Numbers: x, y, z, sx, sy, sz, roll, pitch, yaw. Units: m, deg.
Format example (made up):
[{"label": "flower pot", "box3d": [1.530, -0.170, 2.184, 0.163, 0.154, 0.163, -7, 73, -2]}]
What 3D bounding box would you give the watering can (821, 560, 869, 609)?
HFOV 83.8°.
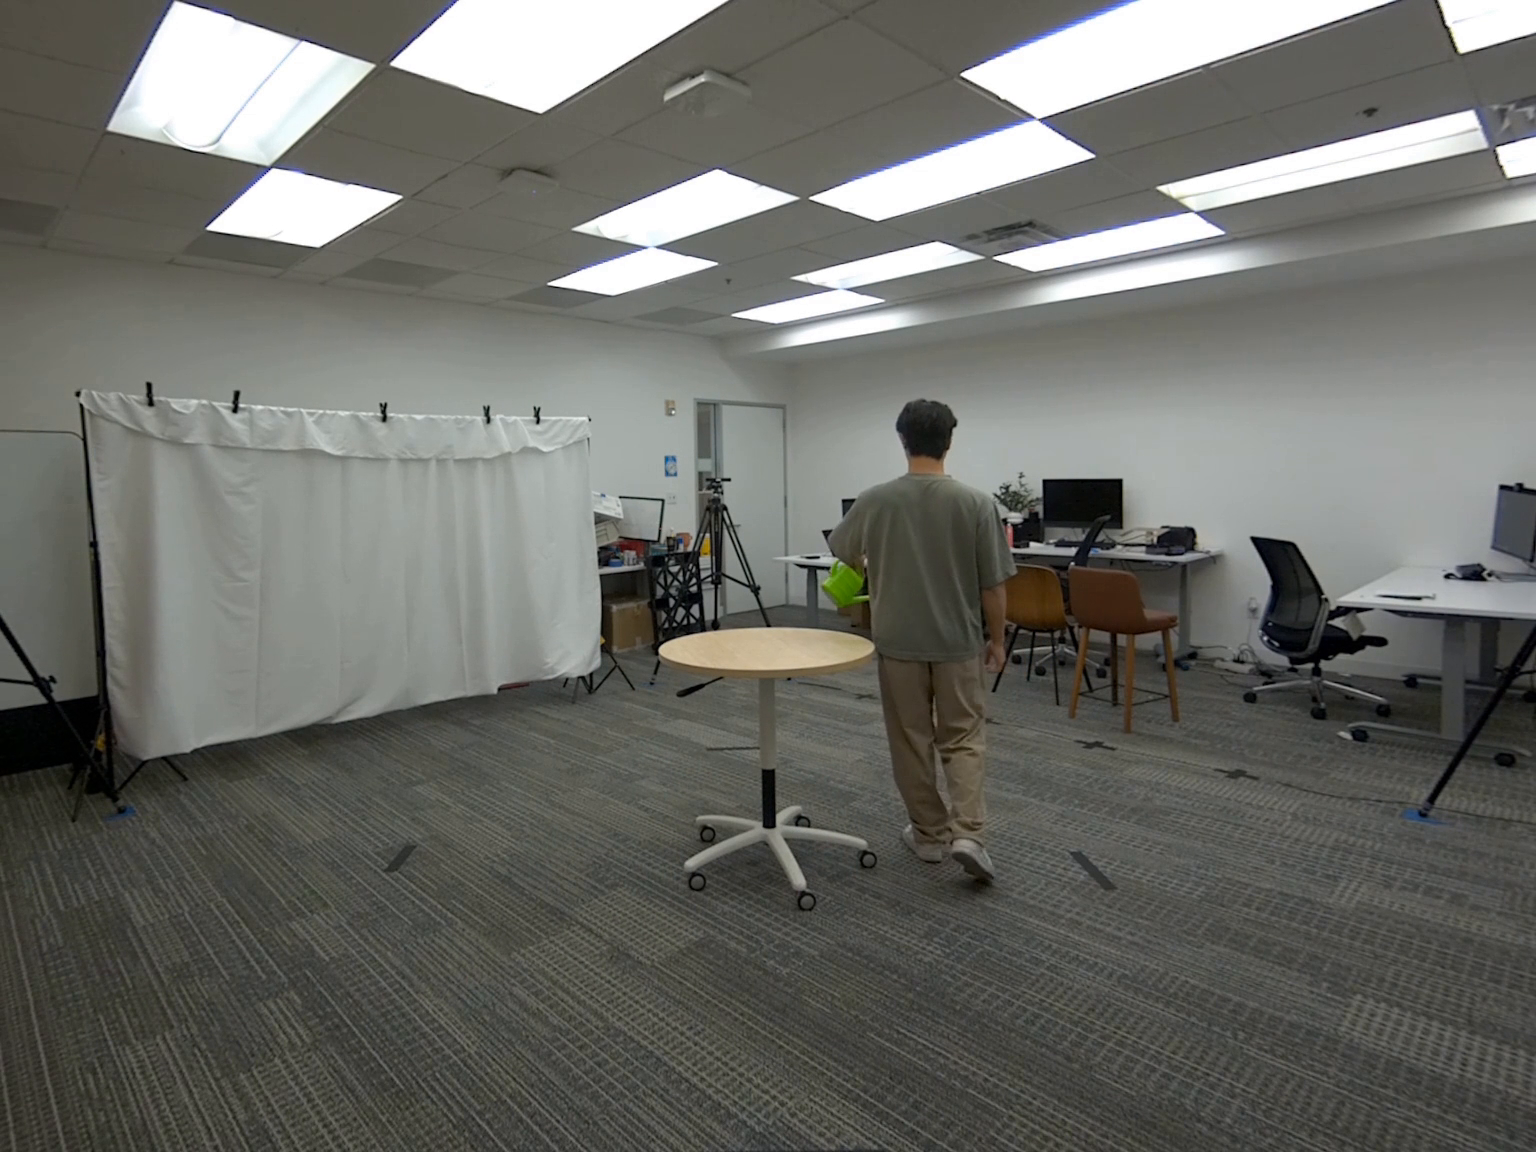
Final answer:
[{"label": "watering can", "box3d": [0.354, 0.059, 3.534, 0.176, 0.279, 0.098, -43, -2, -14]}]
